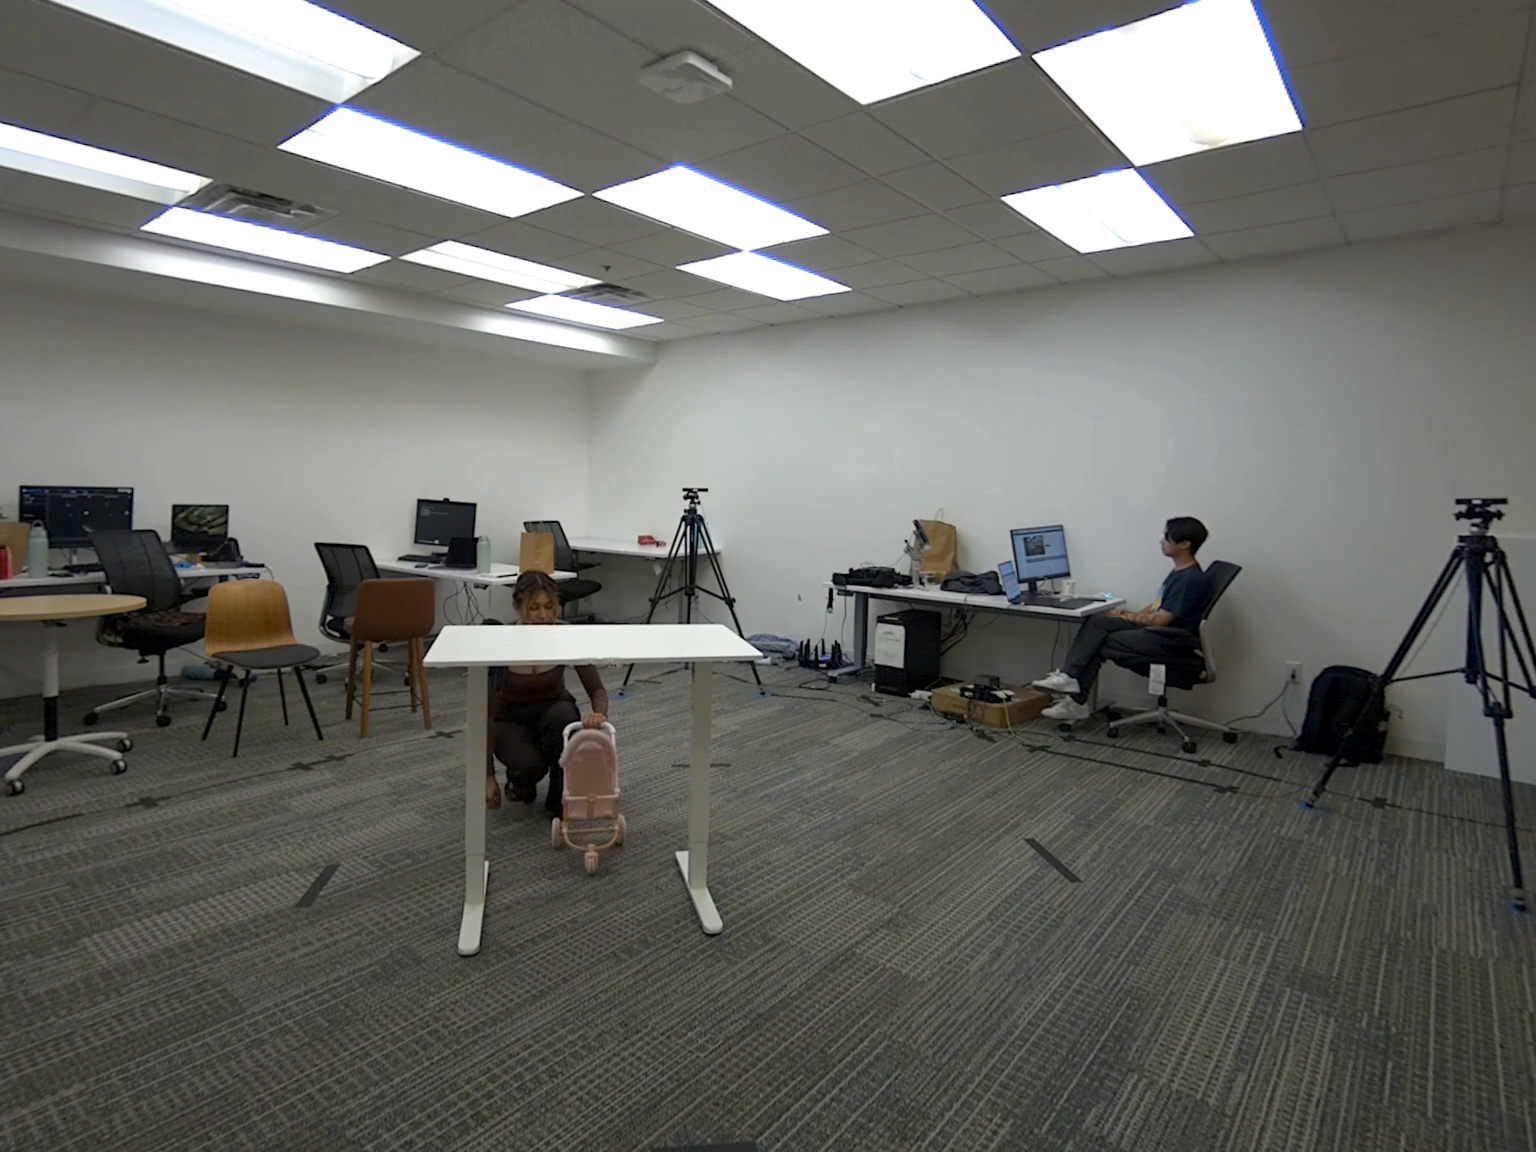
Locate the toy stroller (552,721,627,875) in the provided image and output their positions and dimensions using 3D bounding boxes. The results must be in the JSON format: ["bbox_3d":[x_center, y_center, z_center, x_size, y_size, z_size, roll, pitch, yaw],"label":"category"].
[{"bbox_3d":[-0.685,0.818,3.224,0.279,0.541,0.341,0,-11,-10],"label":"toy stroller"}]
